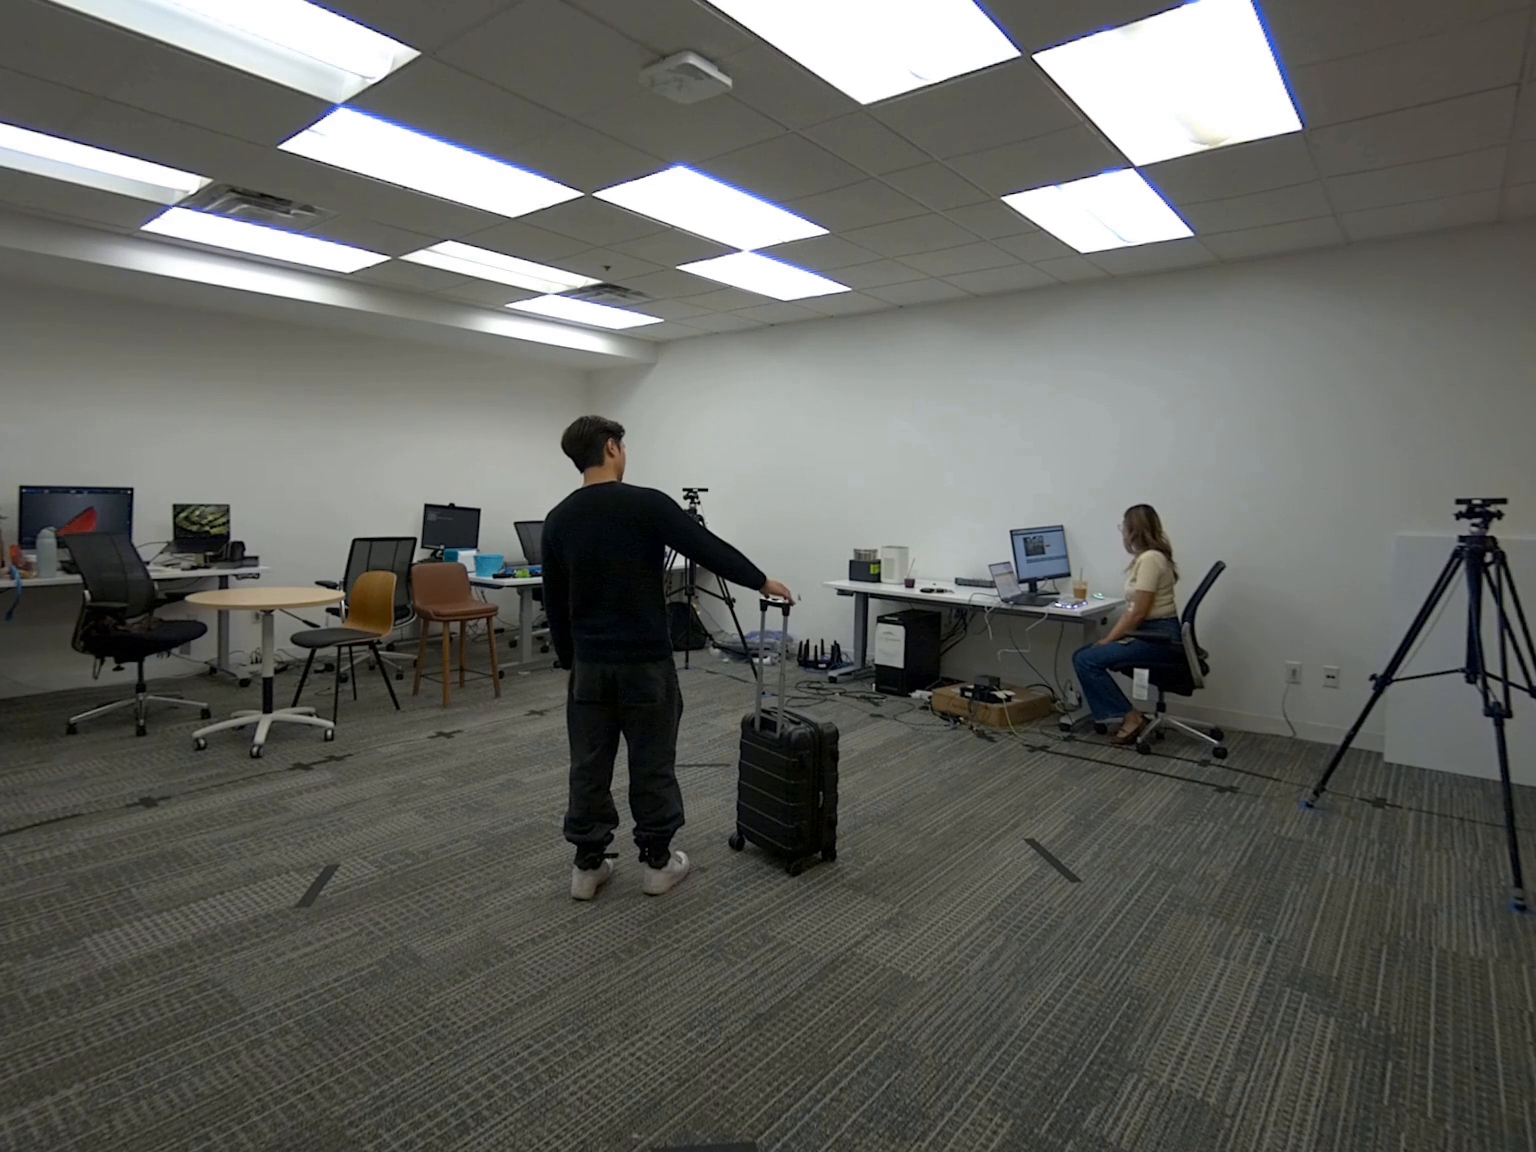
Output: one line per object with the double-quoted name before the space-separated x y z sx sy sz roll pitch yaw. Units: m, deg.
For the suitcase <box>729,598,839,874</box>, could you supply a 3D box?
"suitcase" 0.076 0.587 3.240 0.249 0.977 0.397 2 3 -38
